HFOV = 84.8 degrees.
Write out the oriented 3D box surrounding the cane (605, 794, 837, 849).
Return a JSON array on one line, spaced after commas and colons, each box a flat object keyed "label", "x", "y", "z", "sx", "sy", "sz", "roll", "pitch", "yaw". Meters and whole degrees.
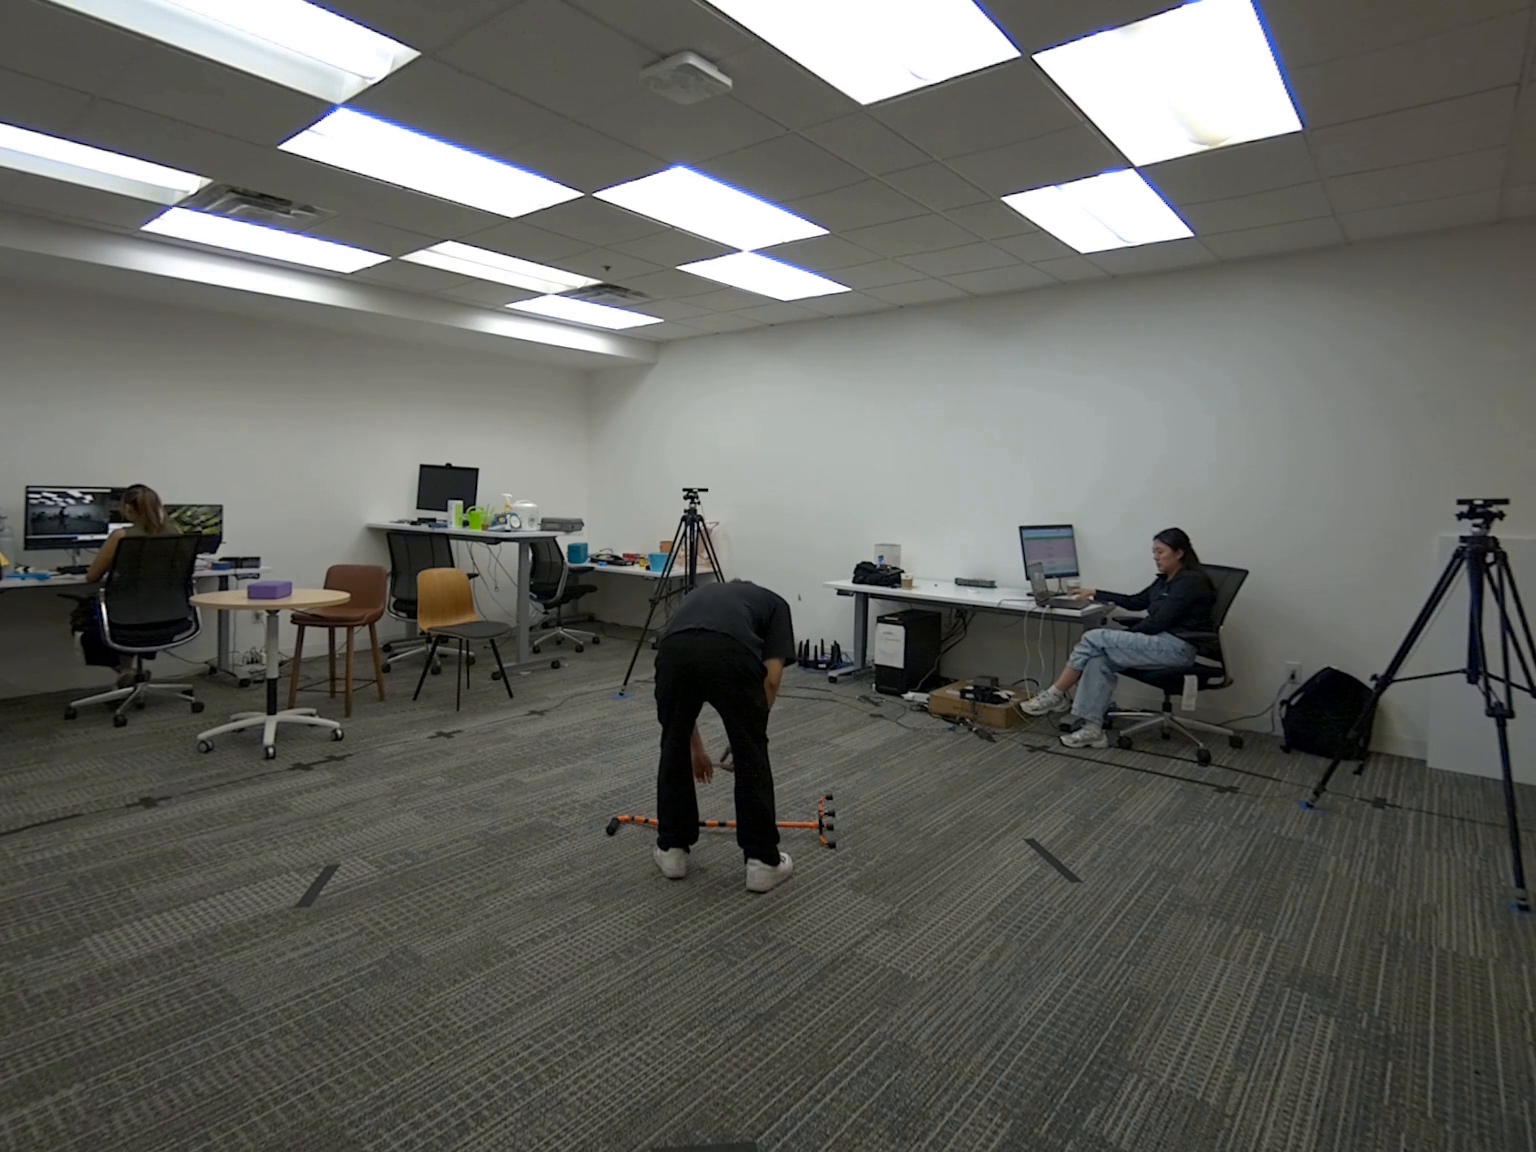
[{"label": "cane", "x": -0.201, "y": 0.982, "z": 3.449, "sx": 0.912, "sy": 0.151, "sz": 0.206, "roll": -2, "pitch": 3, "yaw": 4}]
